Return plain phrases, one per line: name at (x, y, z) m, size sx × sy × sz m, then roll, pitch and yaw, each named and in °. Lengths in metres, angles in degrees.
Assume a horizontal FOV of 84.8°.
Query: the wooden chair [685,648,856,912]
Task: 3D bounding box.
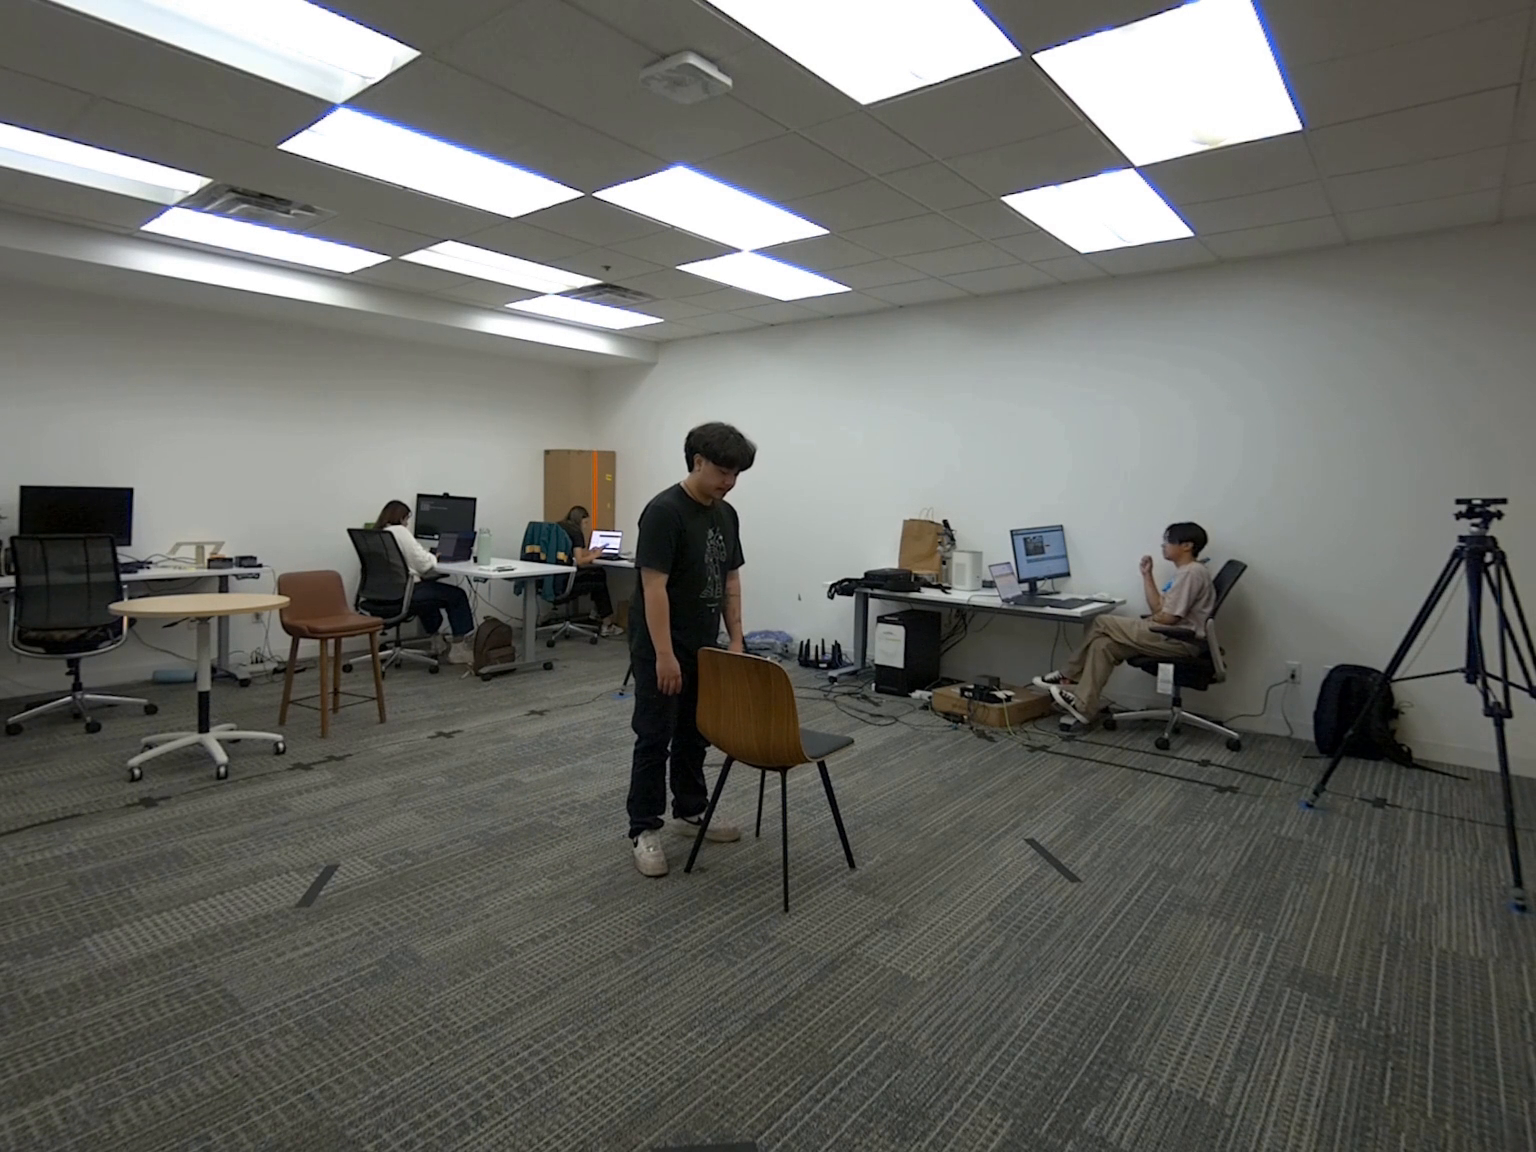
wooden chair at (0.016, 0.648, 3.087) m, size 0.494 × 0.872 × 0.509 m, roll 3°, pitch 8°, yaw 37°
